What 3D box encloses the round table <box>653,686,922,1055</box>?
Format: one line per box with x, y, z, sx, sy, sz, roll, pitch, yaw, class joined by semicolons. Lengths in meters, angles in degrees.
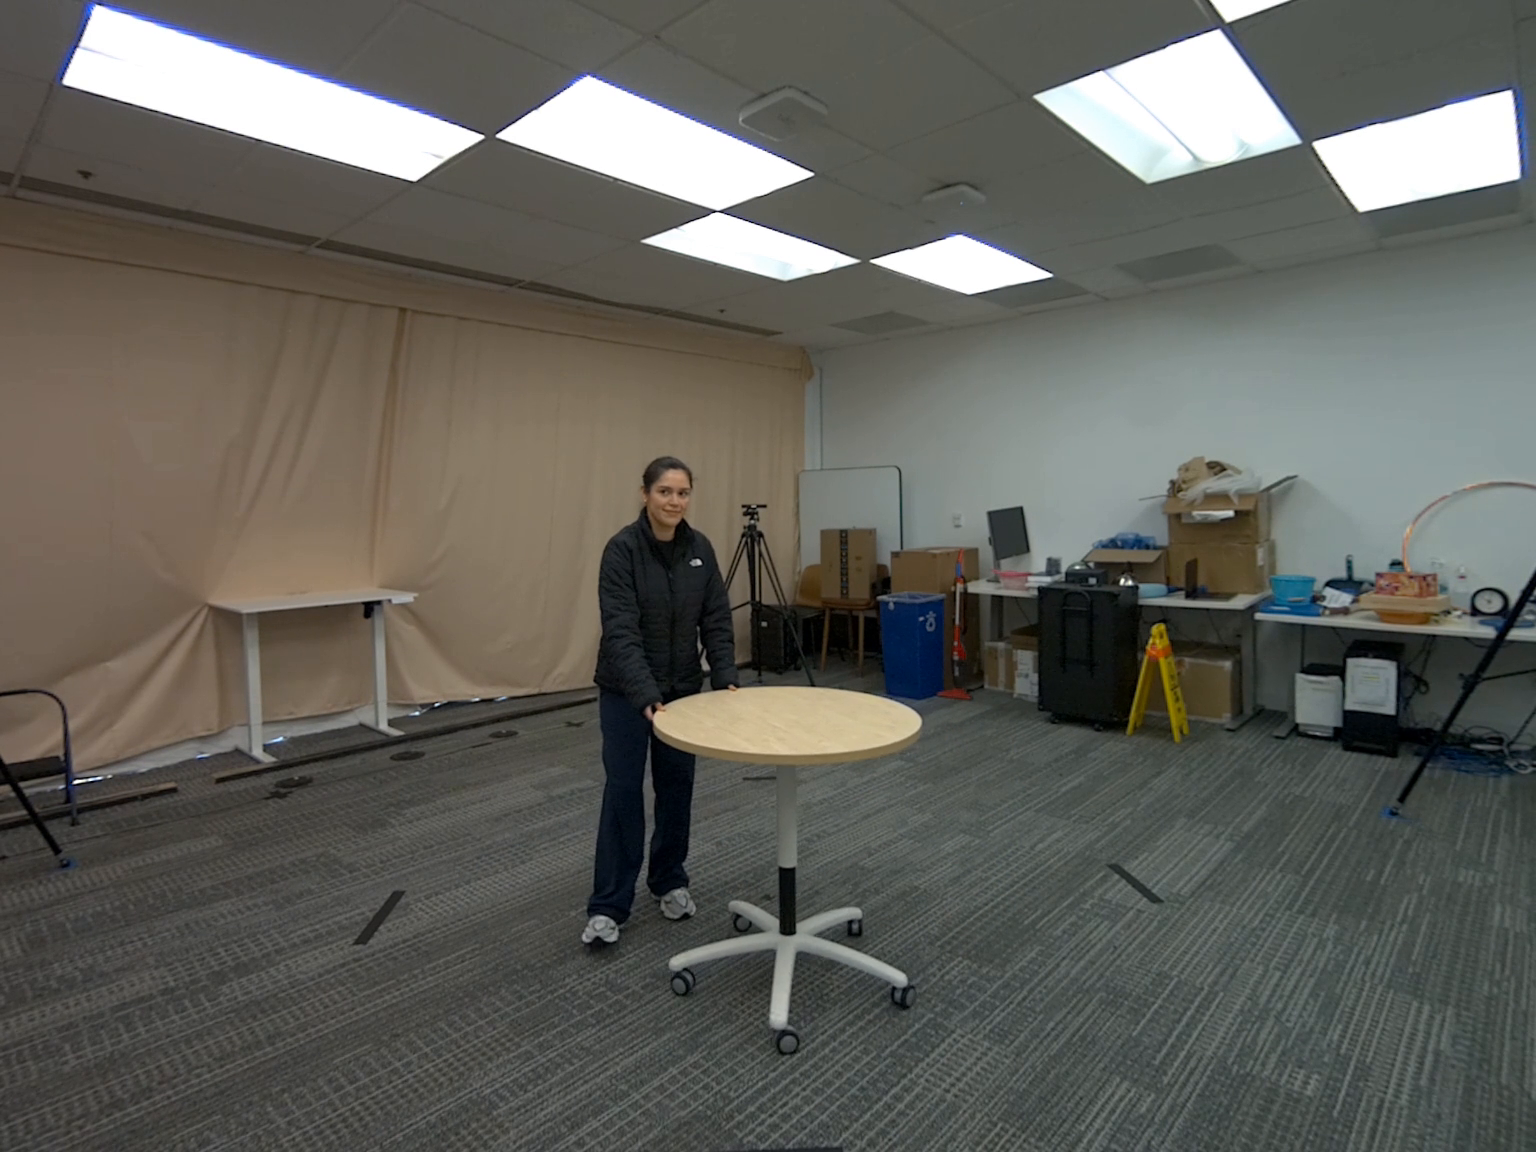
0.076;0.789;2.470;0.784;0.784;0.788;-1;4;-2;round table
